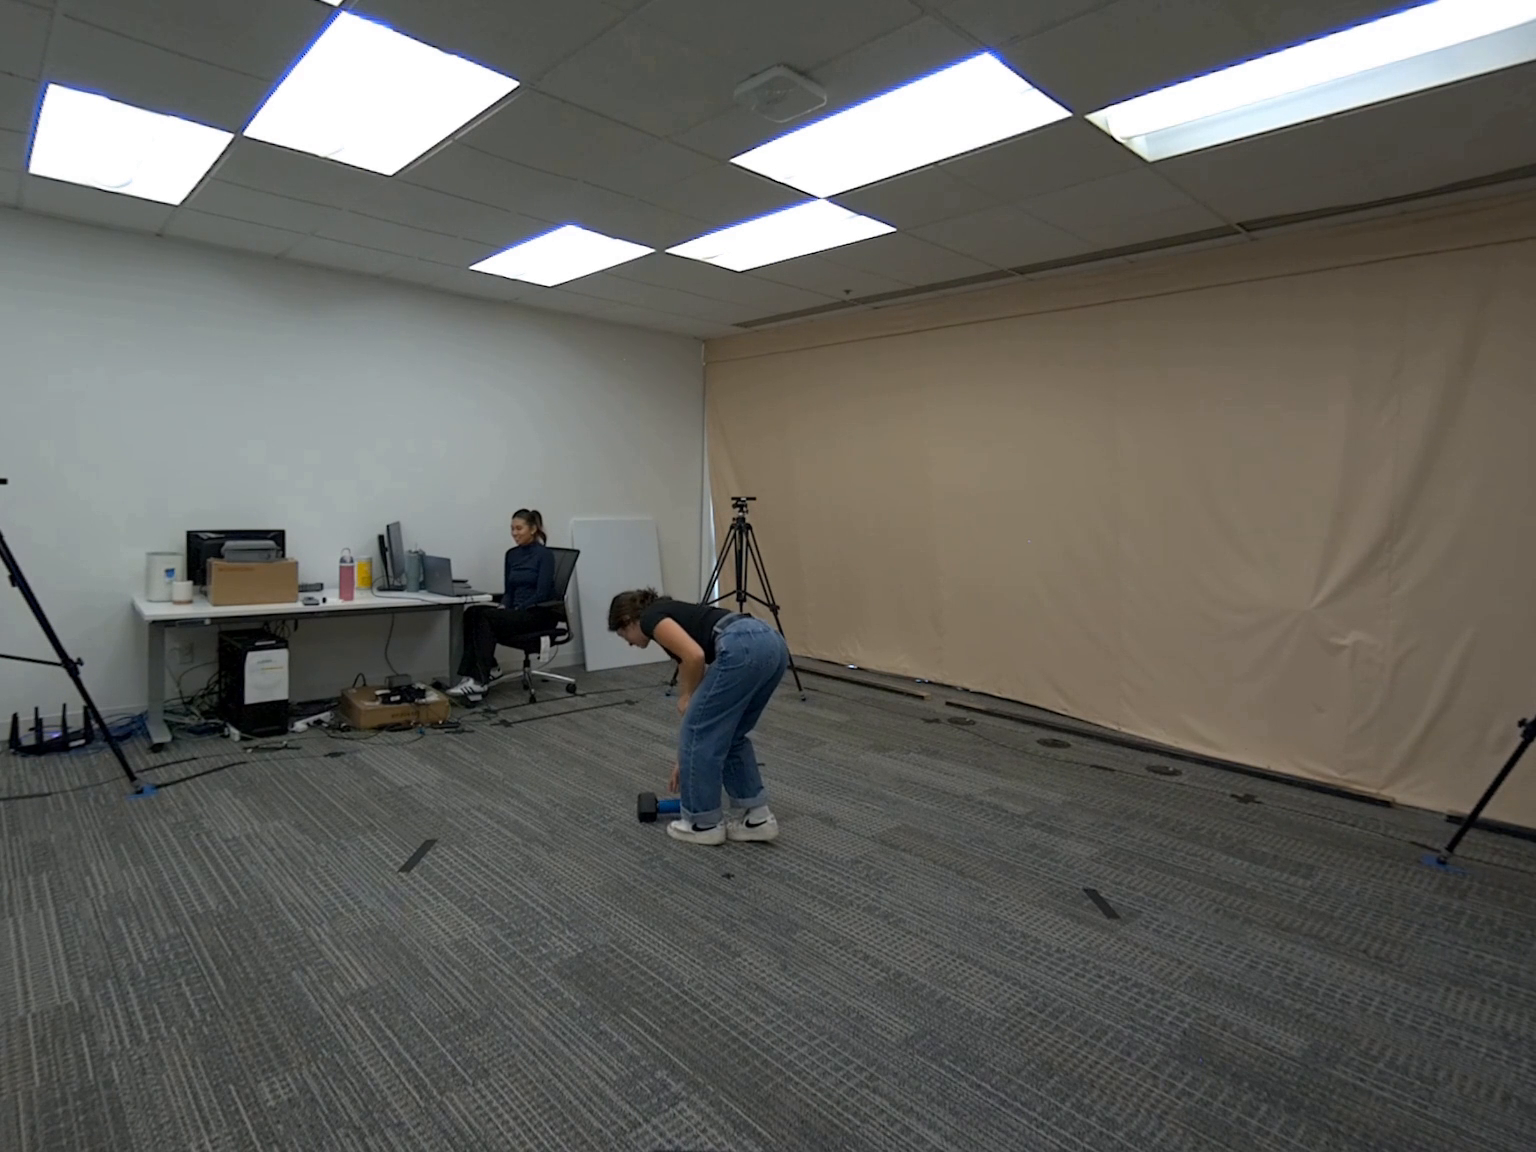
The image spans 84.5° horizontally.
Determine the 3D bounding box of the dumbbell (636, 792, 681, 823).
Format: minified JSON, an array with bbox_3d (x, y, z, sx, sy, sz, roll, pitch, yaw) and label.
[{"bbox_3d":[-0.428,0.999,3.657,0.292,0.125,0.107,-1,-27,-7],"label":"dumbbell"}]
